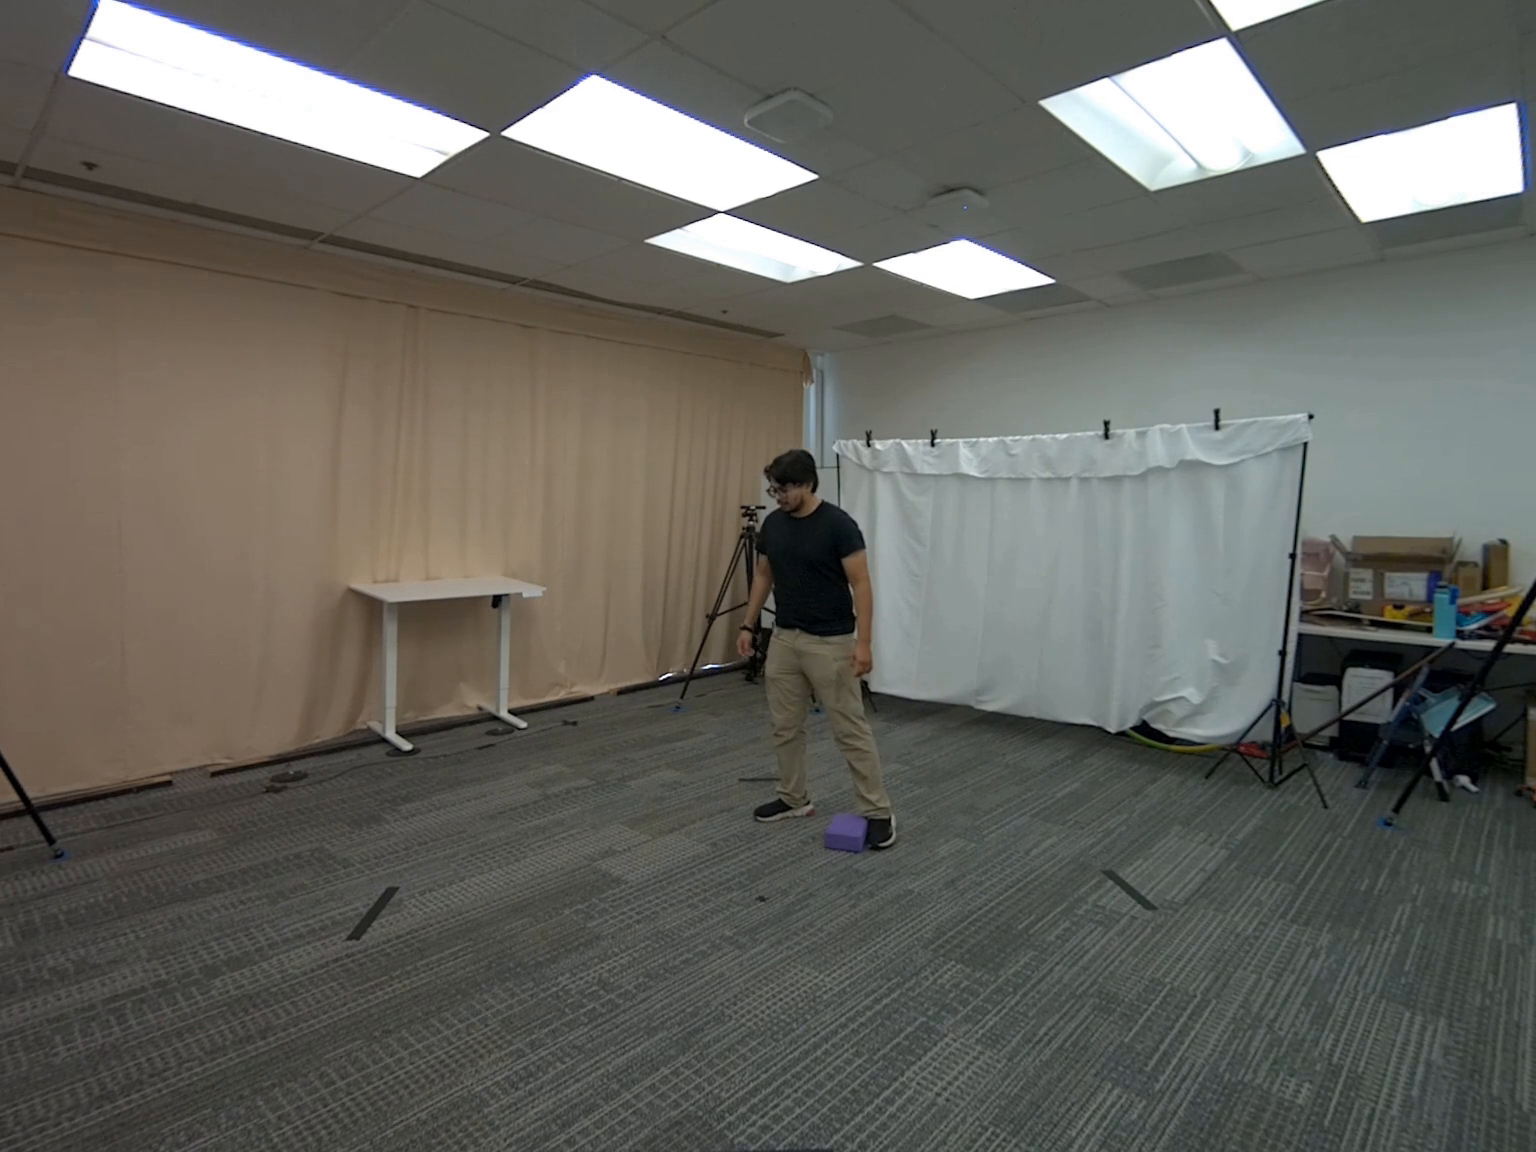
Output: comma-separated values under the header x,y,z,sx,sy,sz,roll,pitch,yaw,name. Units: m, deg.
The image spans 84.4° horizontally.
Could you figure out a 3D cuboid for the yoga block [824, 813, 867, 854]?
x,y,z,sx,sy,sz,roll,pitch,yaw,name
0.331,1.060,3.493,0.152,0.076,0.225,3,5,18,yoga block
